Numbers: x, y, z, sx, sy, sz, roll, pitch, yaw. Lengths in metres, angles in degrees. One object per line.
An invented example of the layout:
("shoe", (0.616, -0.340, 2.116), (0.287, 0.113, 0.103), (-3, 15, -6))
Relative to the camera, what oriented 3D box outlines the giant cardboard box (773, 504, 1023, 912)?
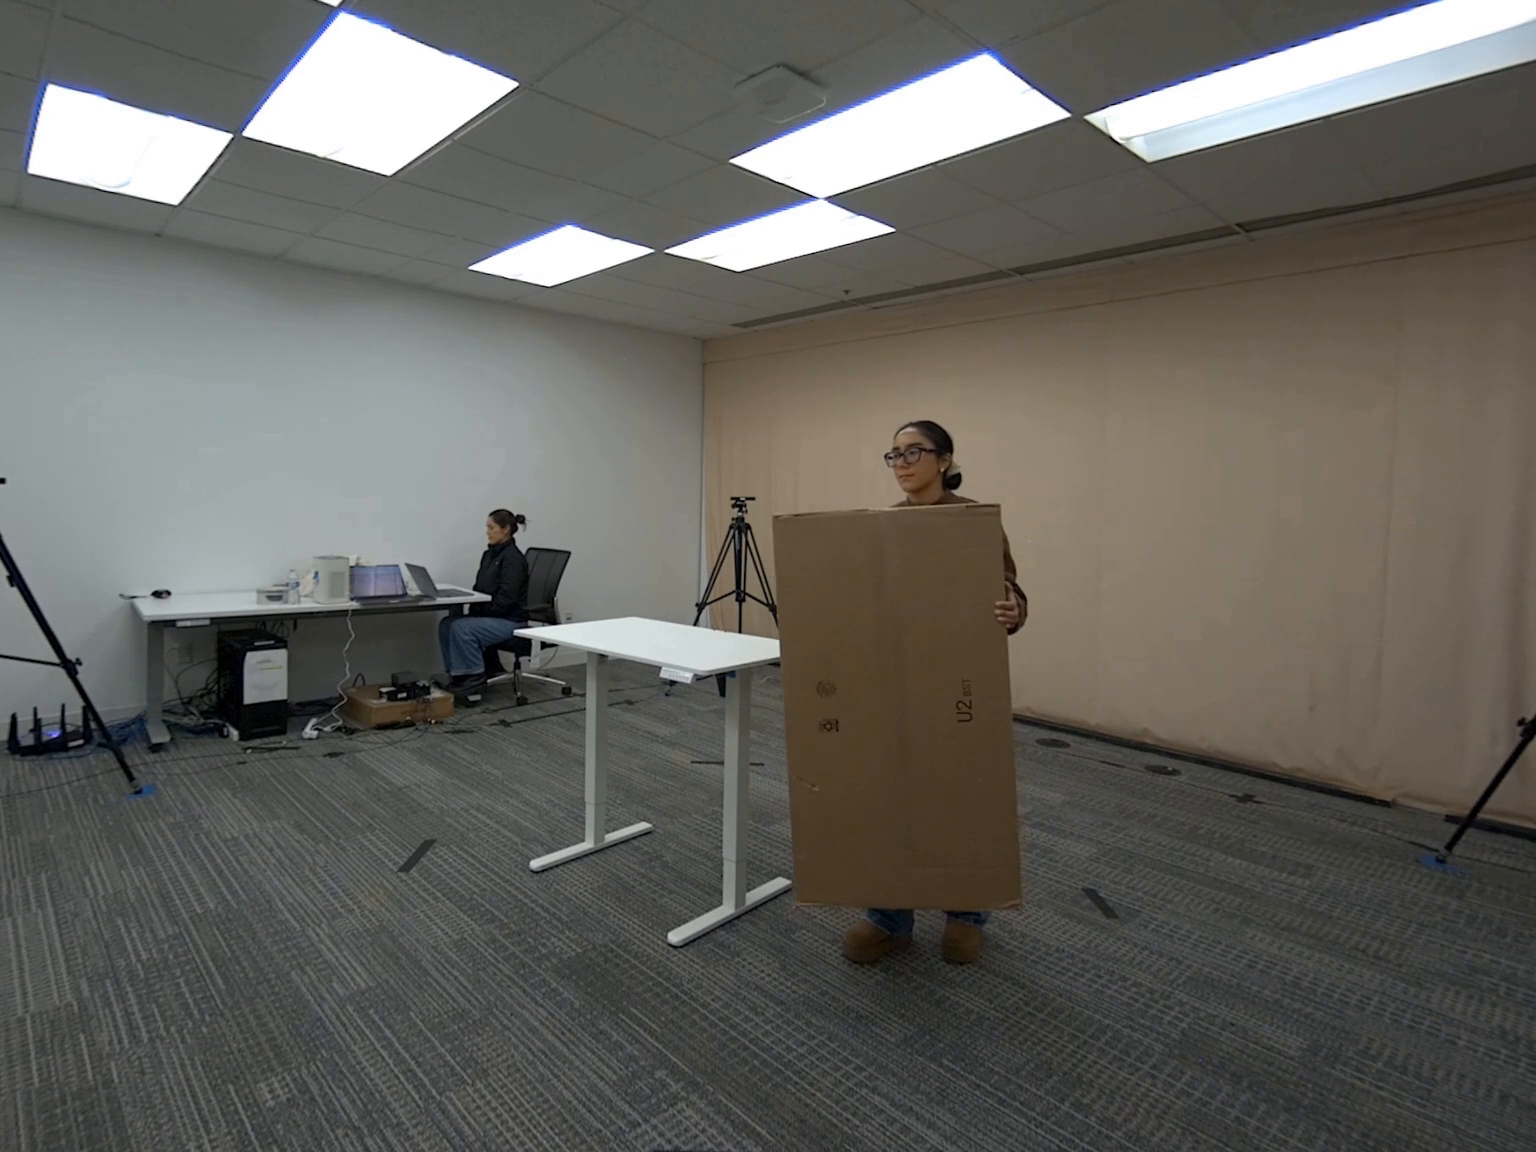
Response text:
("giant cardboard box", (0.331, 0.326, 2.326), (0.581, 1.024, 0.424), (-2, 2, 8))
